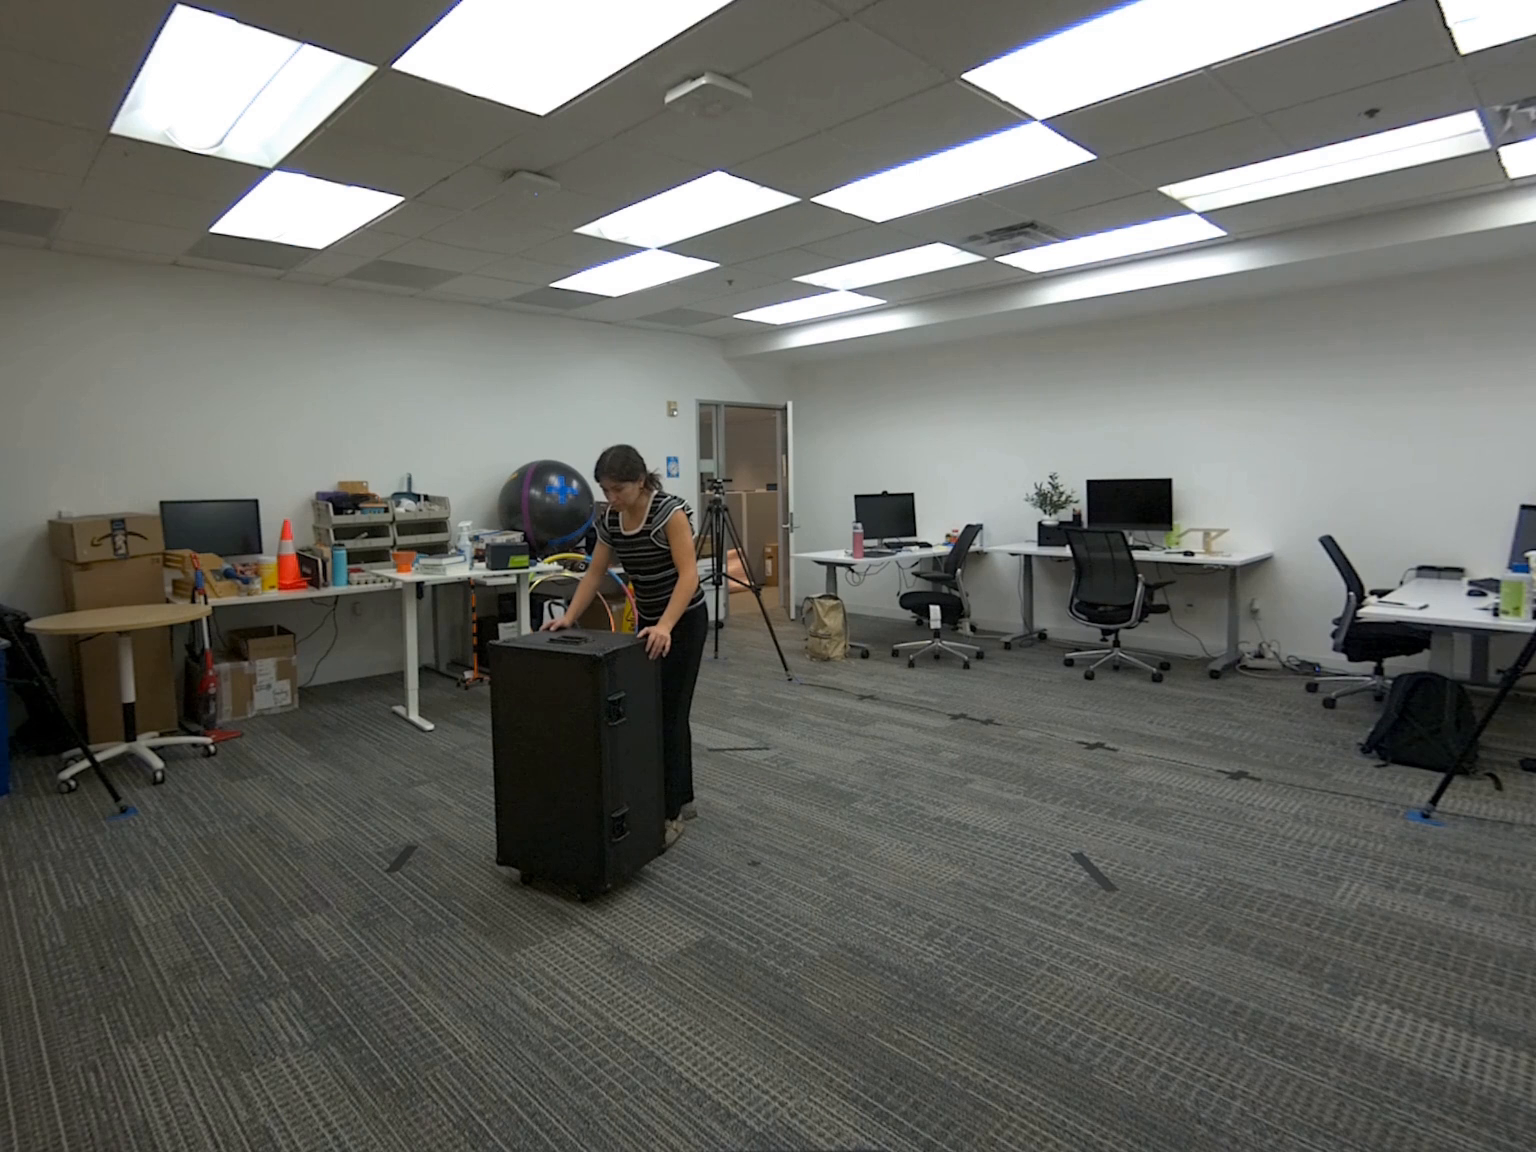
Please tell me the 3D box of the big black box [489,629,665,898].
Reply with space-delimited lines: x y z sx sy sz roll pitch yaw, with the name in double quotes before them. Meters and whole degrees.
"big black box" -0.667 0.644 3.003 0.534 0.859 0.387 1 3 29
